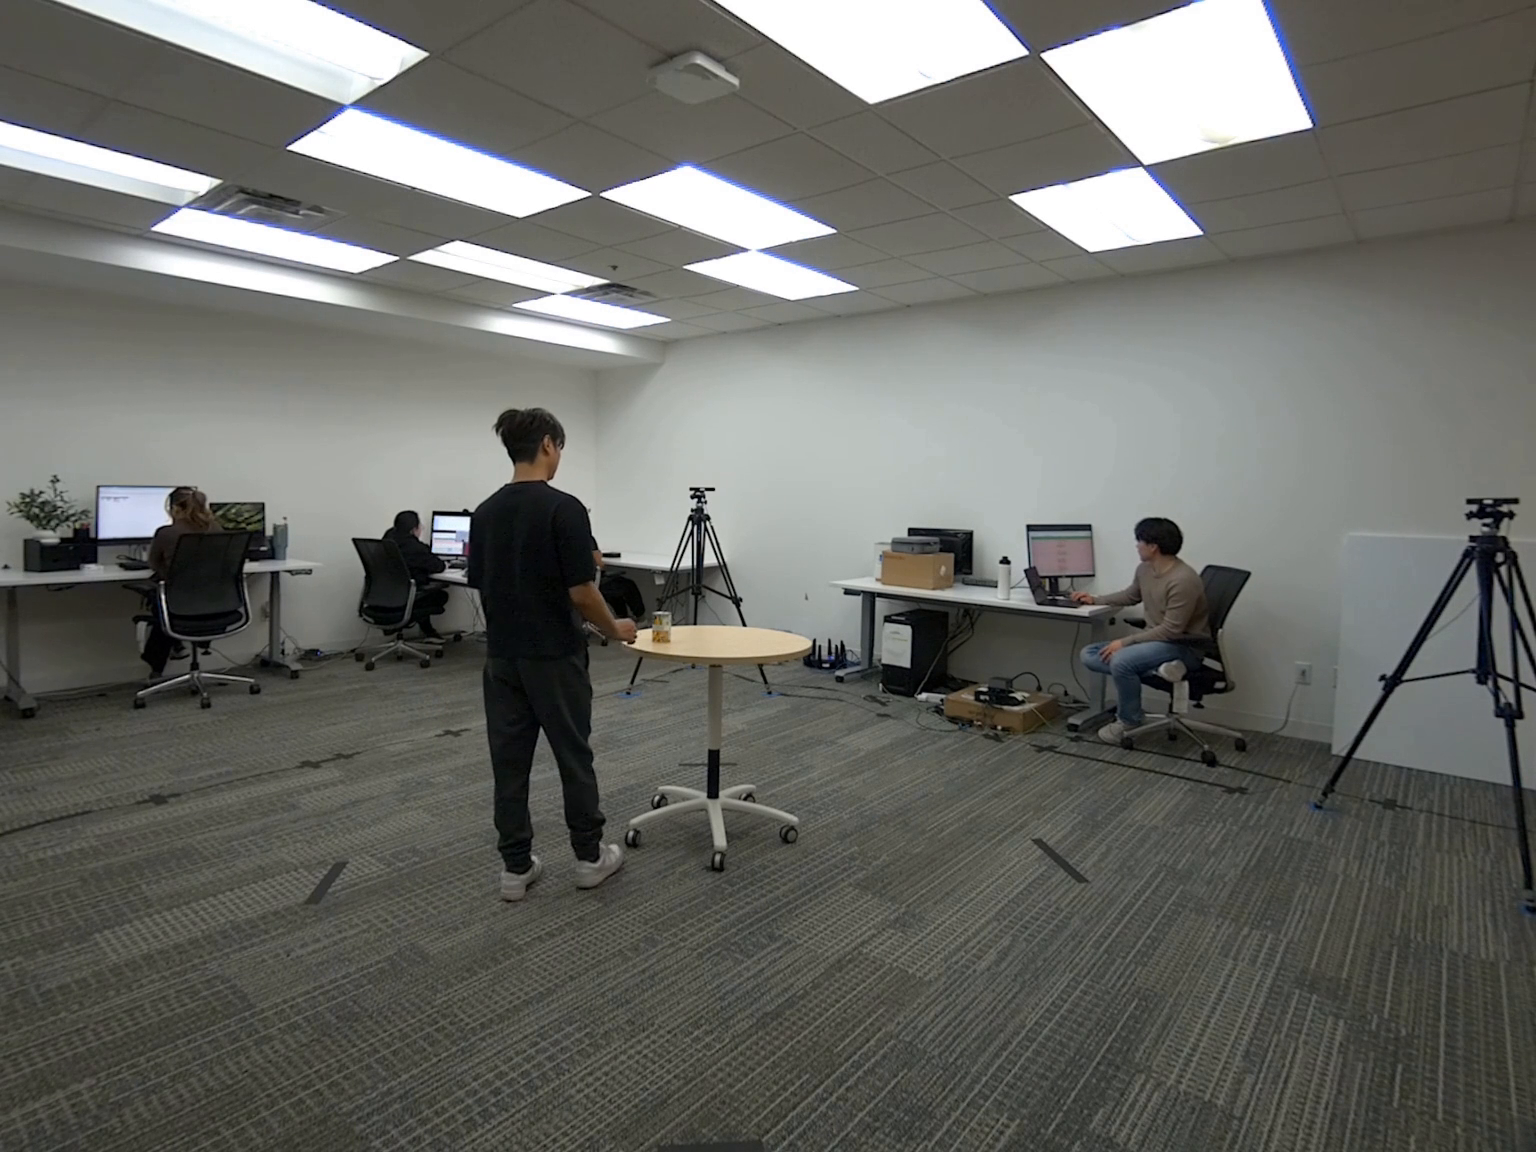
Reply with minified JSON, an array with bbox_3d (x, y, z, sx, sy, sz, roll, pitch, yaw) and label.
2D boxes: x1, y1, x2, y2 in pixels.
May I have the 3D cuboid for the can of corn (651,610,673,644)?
[{"bbox_3d":[-0.432,0.200,3.354,0.074,0.111,0.074,0,3,-2],"label":"can of corn"}]
